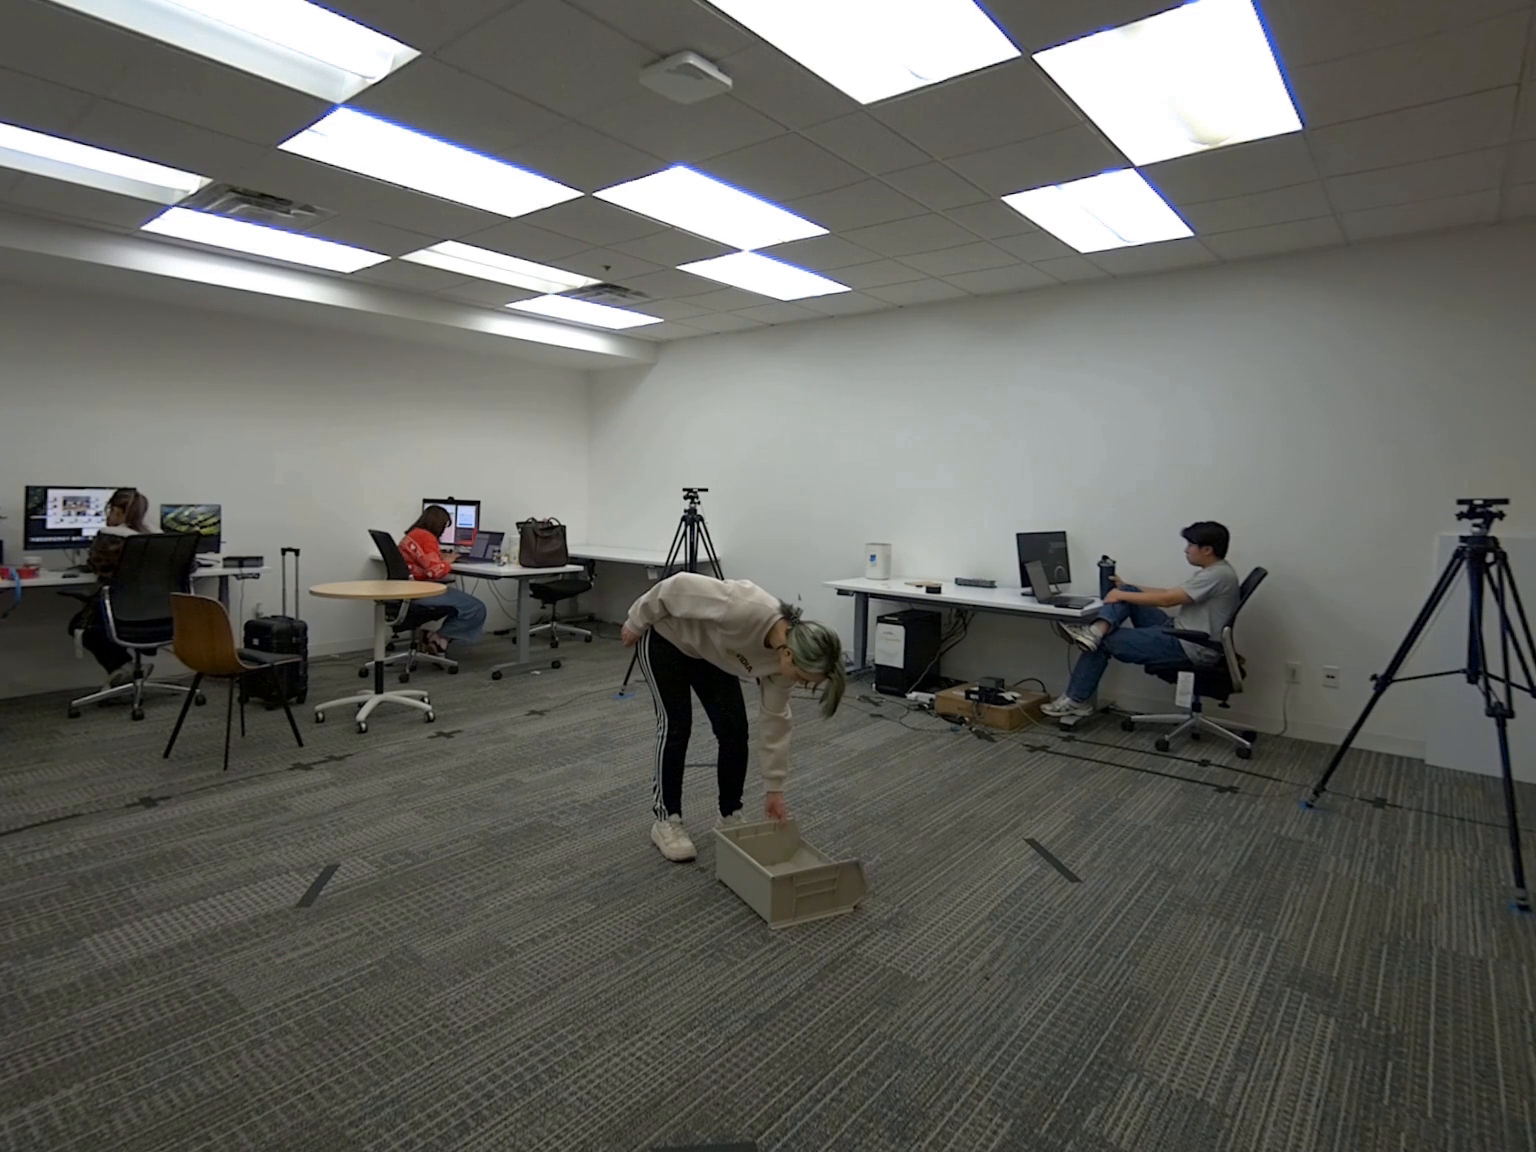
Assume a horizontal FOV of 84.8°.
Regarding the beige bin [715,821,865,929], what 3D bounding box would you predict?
[{"bbox_3d":[0.062,1.001,2.938,0.368,0.188,0.435,-2,7,-29],"label":"beige bin"}]
